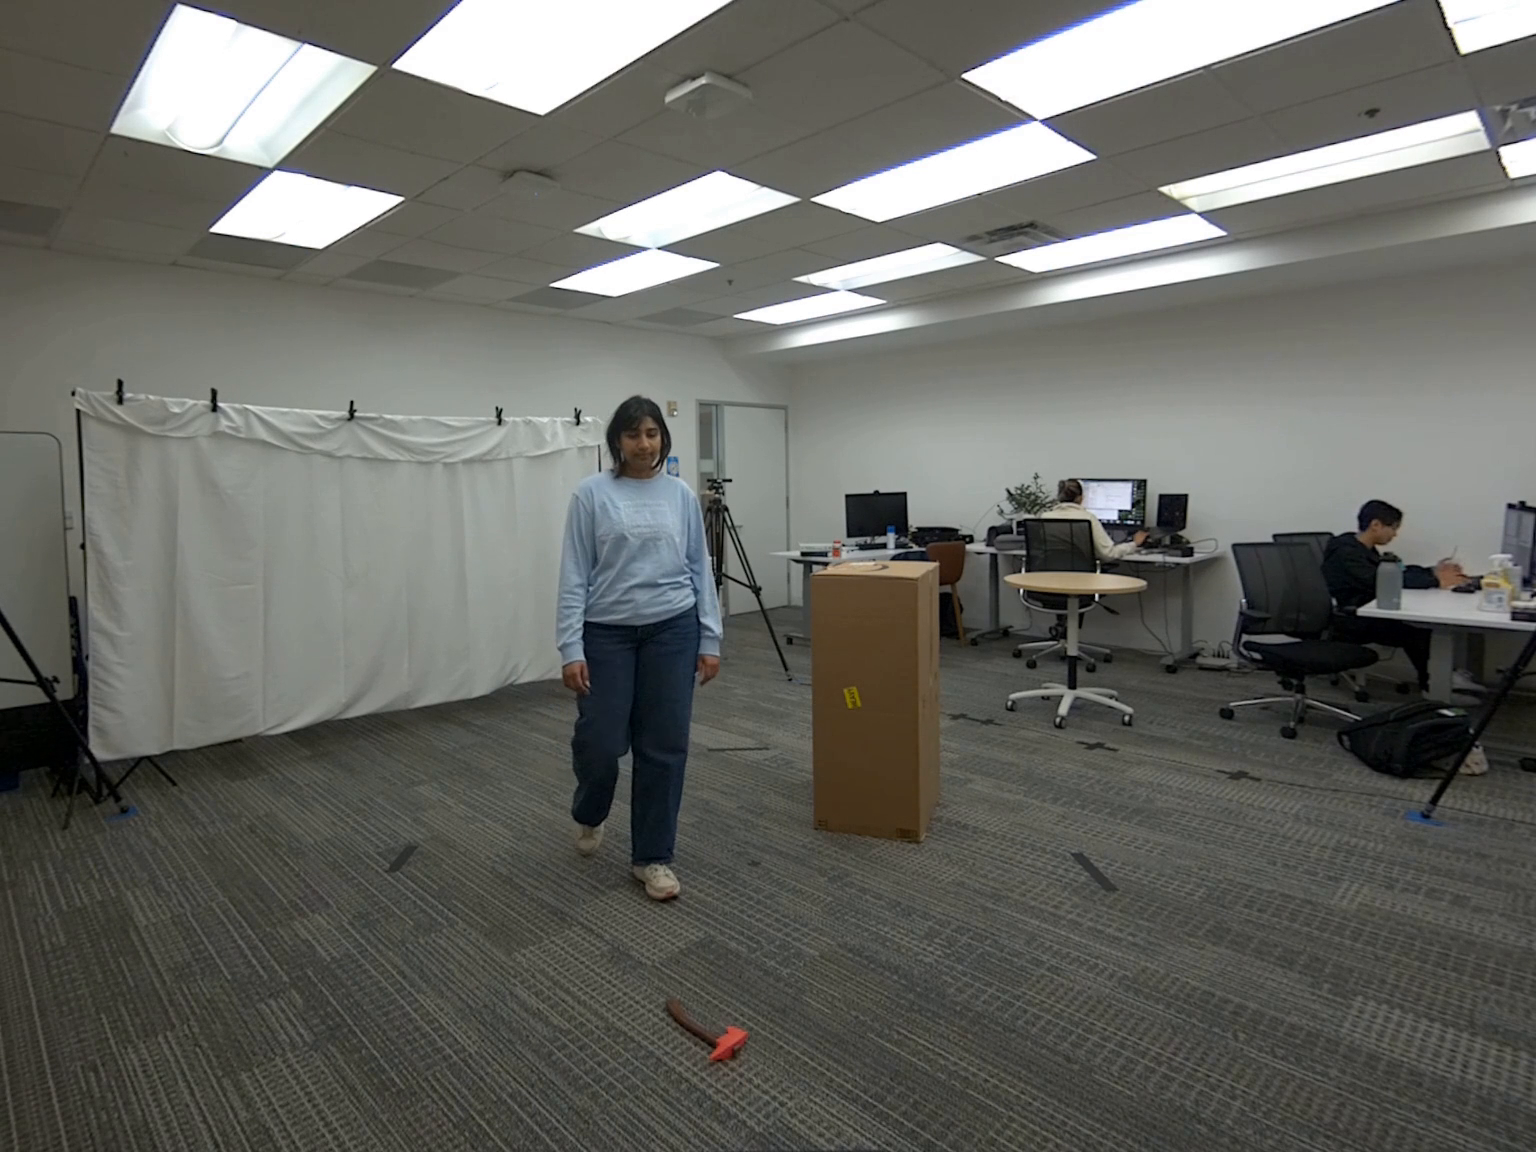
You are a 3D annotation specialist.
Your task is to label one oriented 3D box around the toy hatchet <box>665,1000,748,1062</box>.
[{"bbox_3d":[-0.144,1.152,2.178,0.128,0.029,0.277,-7,7,-29],"label":"toy hatchet"}]
